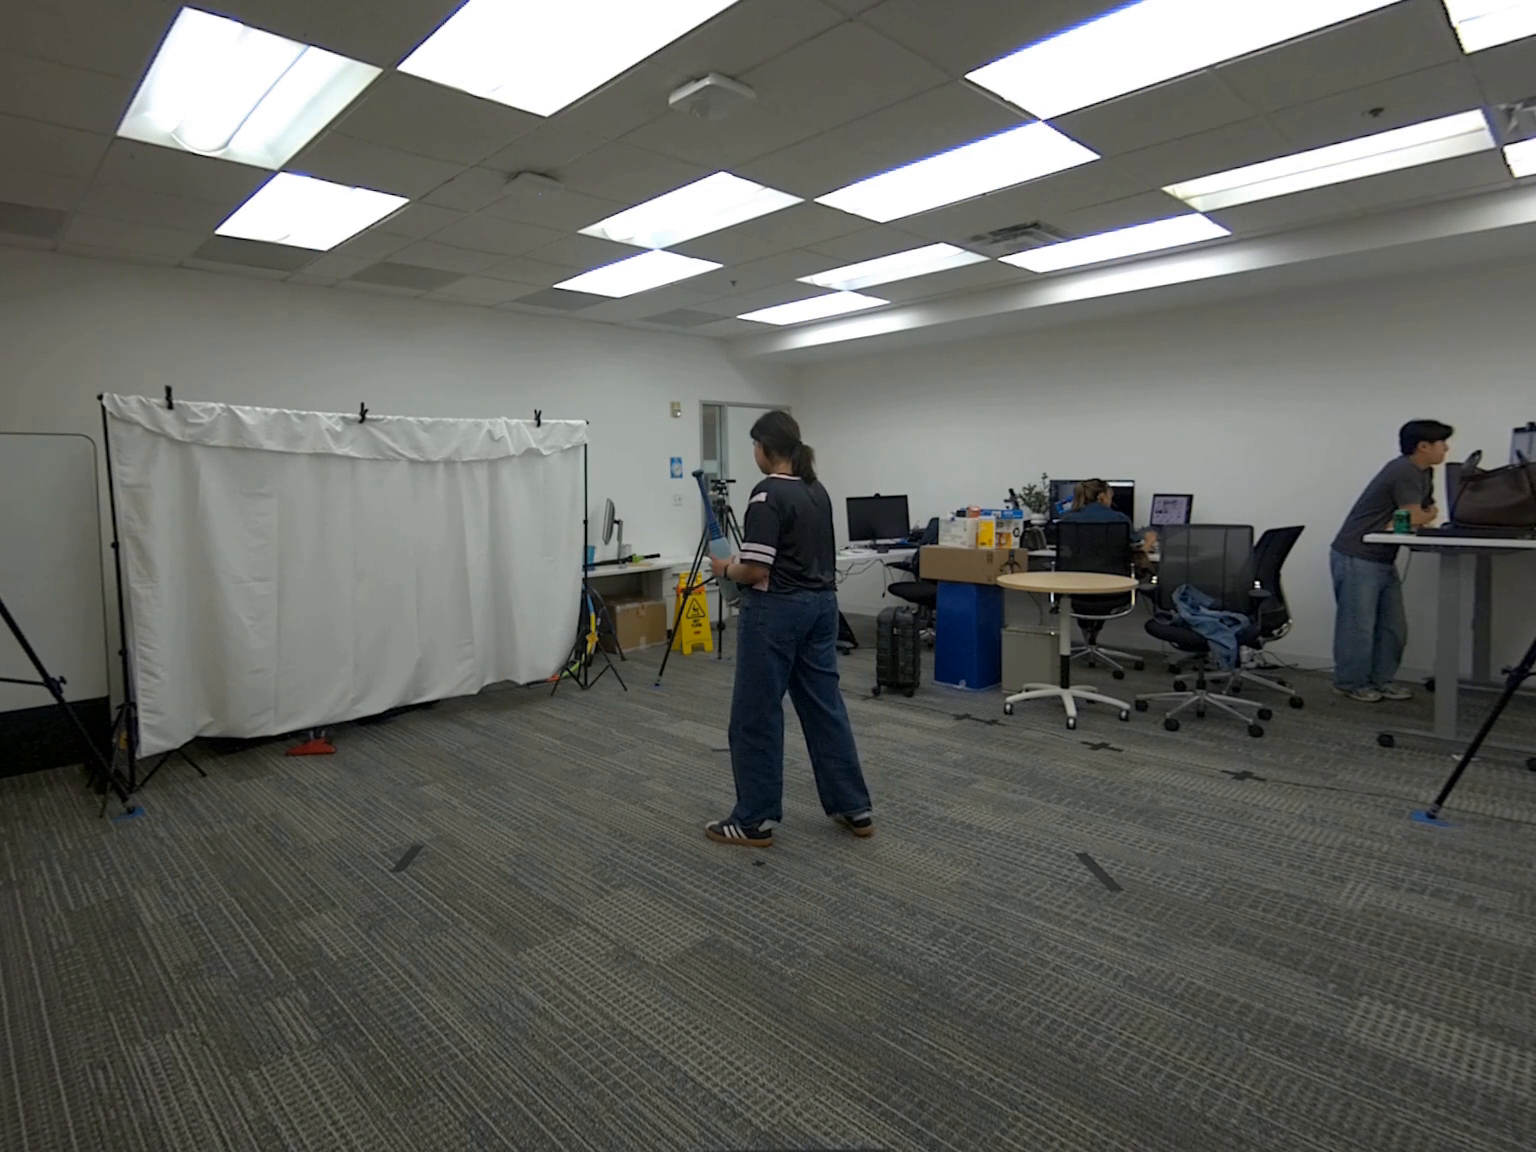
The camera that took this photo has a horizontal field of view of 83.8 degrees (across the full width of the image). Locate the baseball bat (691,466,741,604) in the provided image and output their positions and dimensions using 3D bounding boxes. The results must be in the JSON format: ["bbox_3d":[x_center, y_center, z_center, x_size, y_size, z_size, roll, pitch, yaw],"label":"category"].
[{"bbox_3d":[-0.192,-0.169,3.470,0.089,0.542,0.089,-16,2,-1],"label":"baseball bat"}]
